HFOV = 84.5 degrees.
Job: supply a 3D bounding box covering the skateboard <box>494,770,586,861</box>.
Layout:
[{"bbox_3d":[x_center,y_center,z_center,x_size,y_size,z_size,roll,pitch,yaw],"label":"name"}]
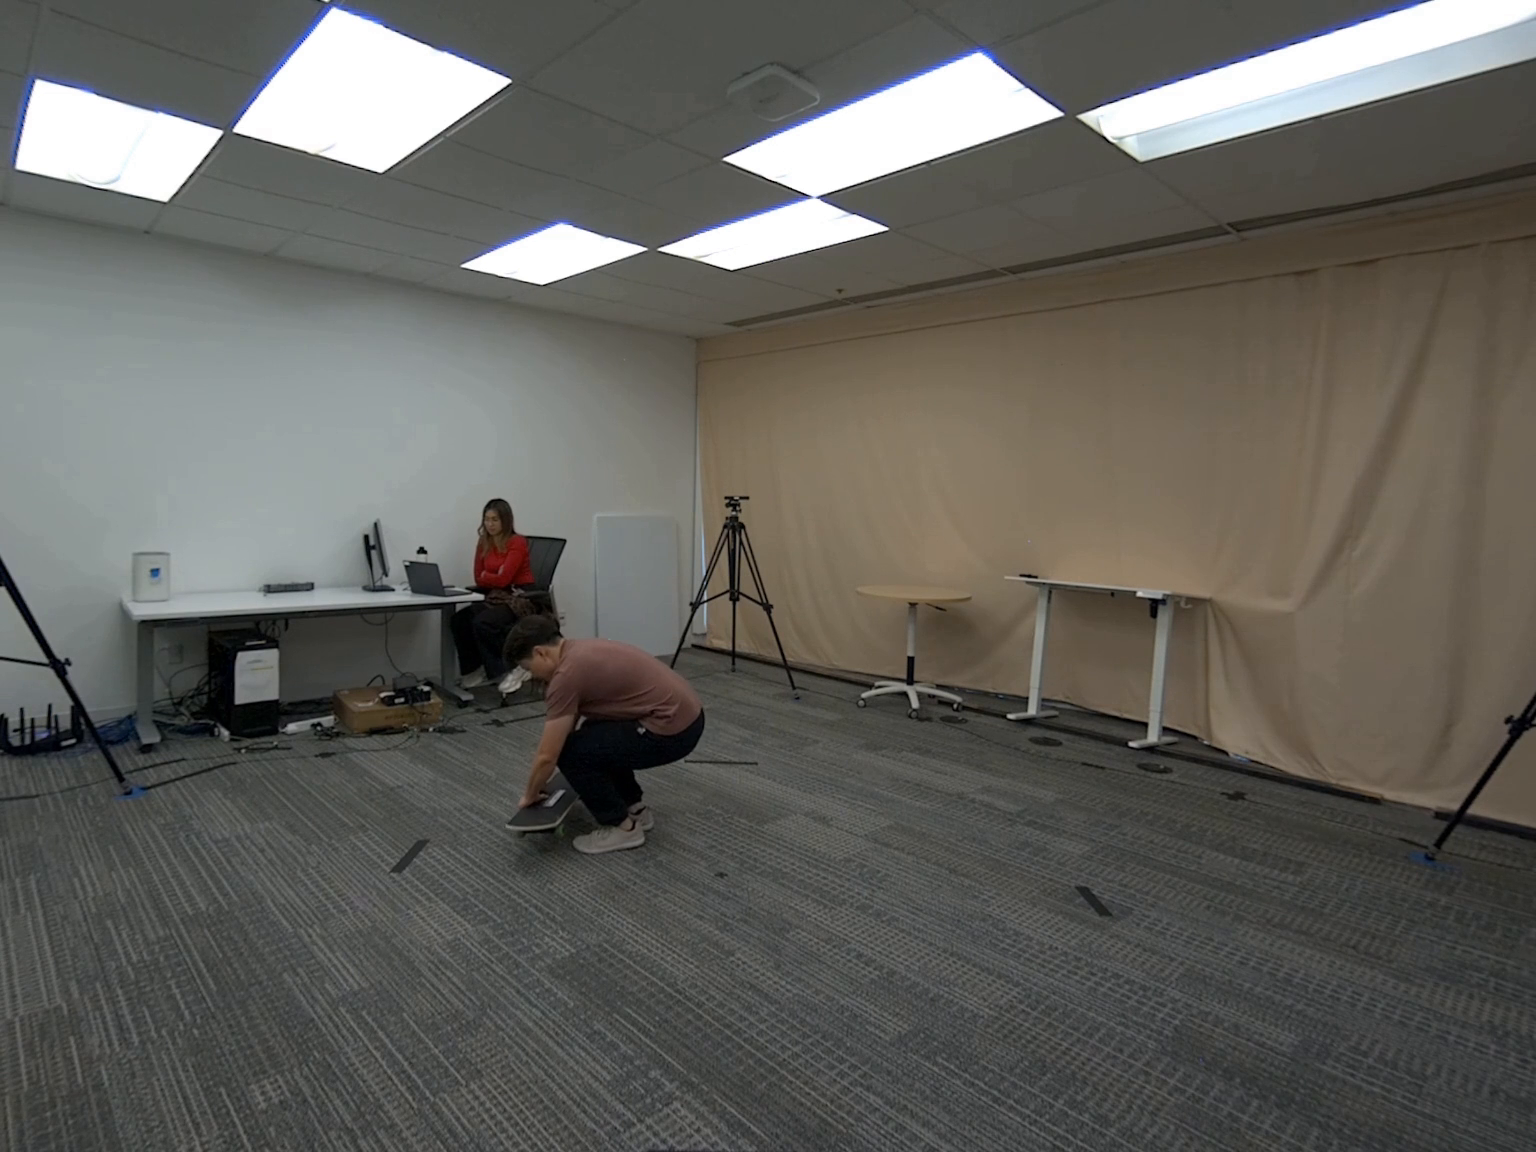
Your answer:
[{"bbox_3d":[-0.888,0.947,3.448,0.194,0.110,0.785,0,3,1],"label":"skateboard"}]
